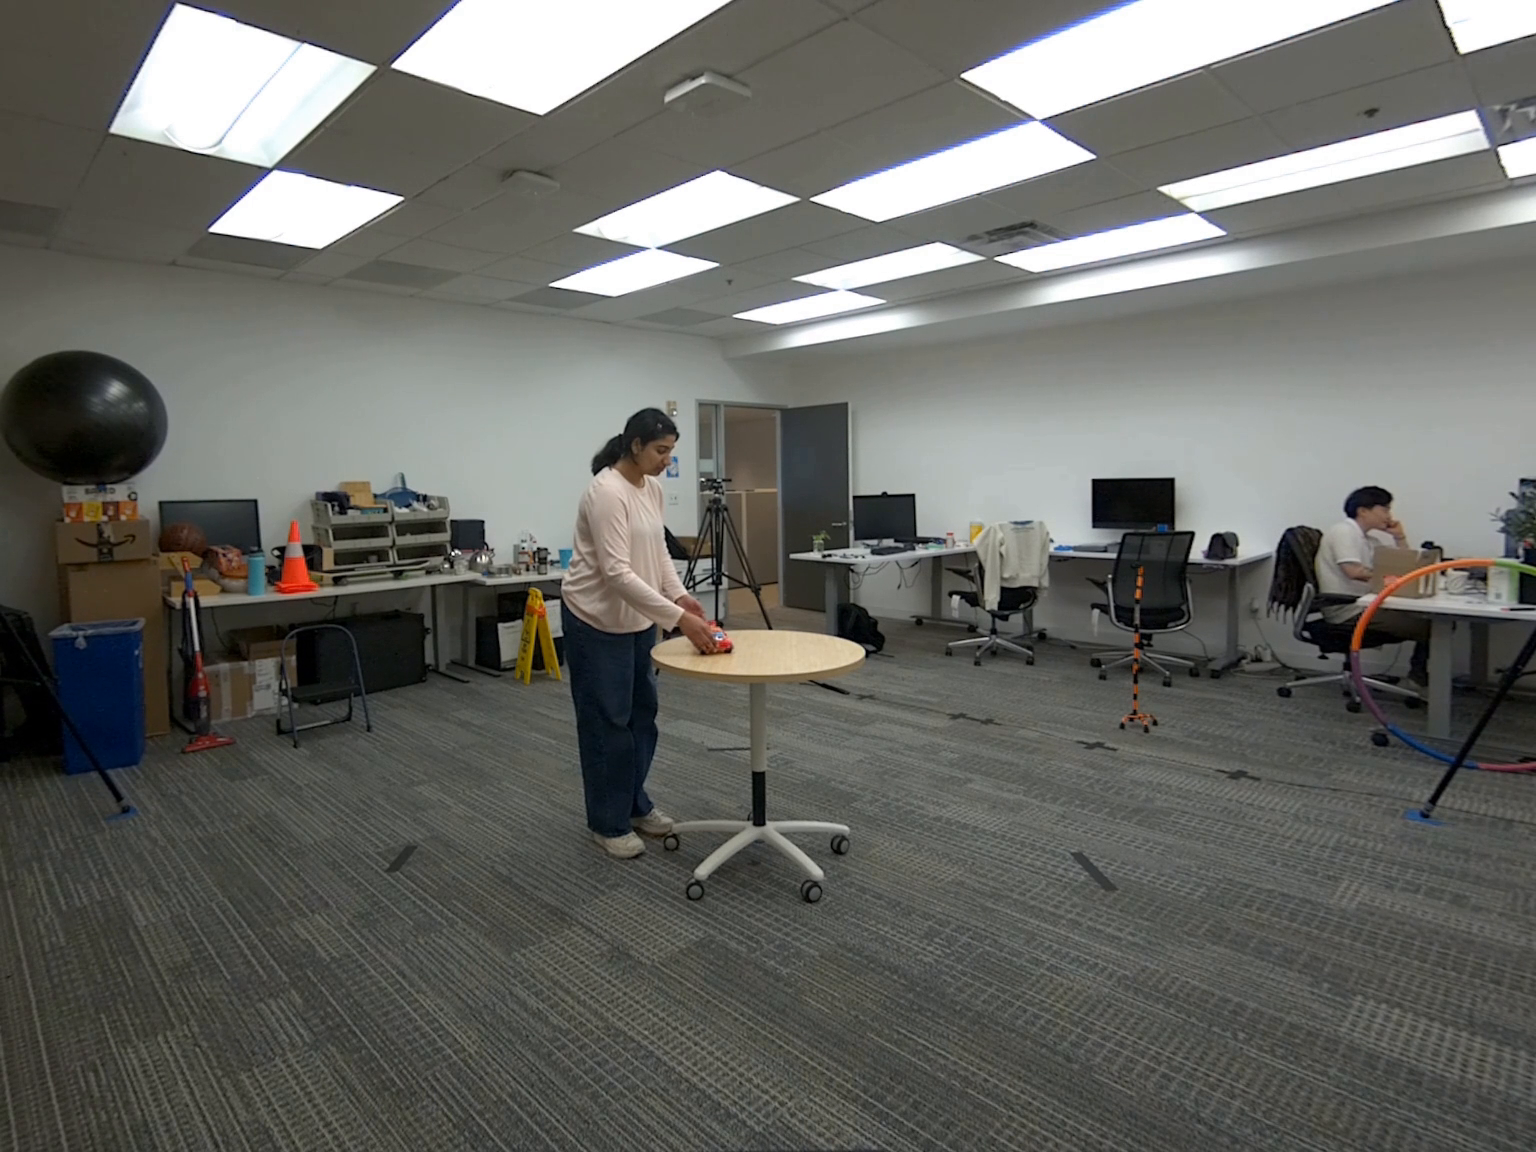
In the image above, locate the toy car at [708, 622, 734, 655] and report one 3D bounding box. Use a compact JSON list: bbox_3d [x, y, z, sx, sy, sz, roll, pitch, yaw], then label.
[{"bbox_3d":[-0.199,0.228,3.108,0.129,0.082,0.261,-4,18,-11],"label":"toy car"}]
